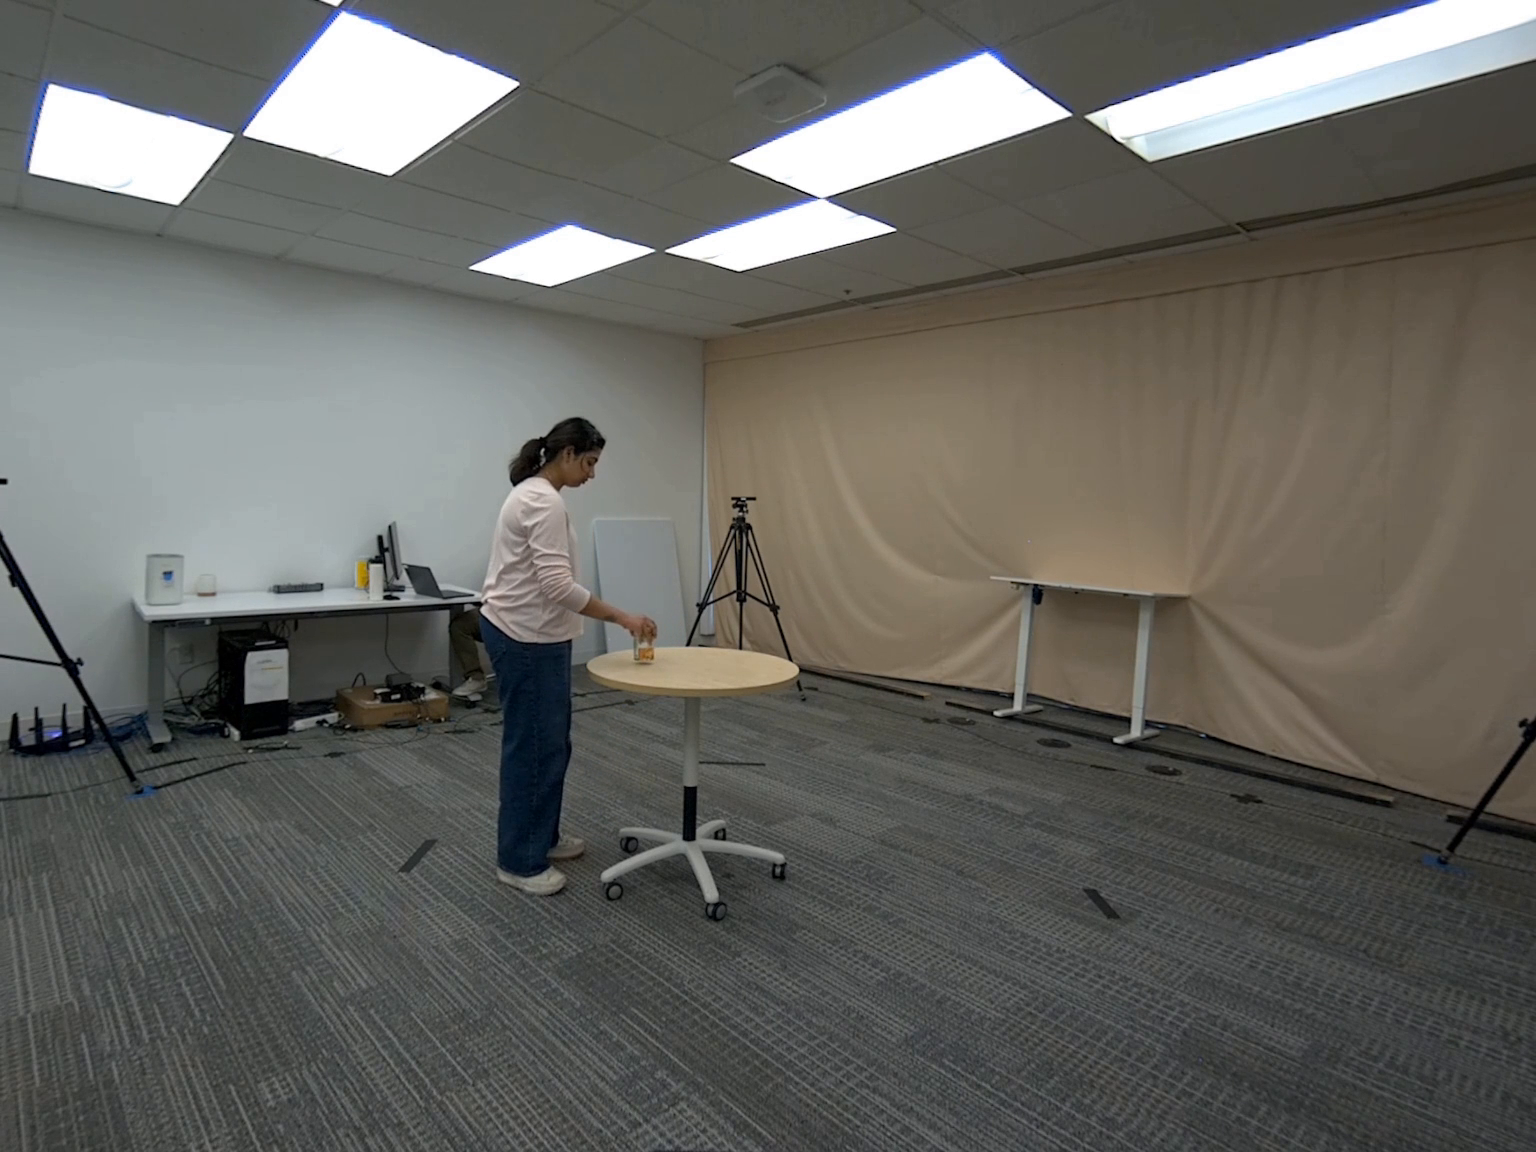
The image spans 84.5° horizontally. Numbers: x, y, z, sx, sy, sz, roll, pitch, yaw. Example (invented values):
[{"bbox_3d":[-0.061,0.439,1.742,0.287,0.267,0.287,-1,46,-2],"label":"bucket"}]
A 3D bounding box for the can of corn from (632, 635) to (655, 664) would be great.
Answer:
[{"bbox_3d":[-0.459,0.248,3.049,0.074,0.111,0.074,0,-2,-1],"label":"can of corn"}]
